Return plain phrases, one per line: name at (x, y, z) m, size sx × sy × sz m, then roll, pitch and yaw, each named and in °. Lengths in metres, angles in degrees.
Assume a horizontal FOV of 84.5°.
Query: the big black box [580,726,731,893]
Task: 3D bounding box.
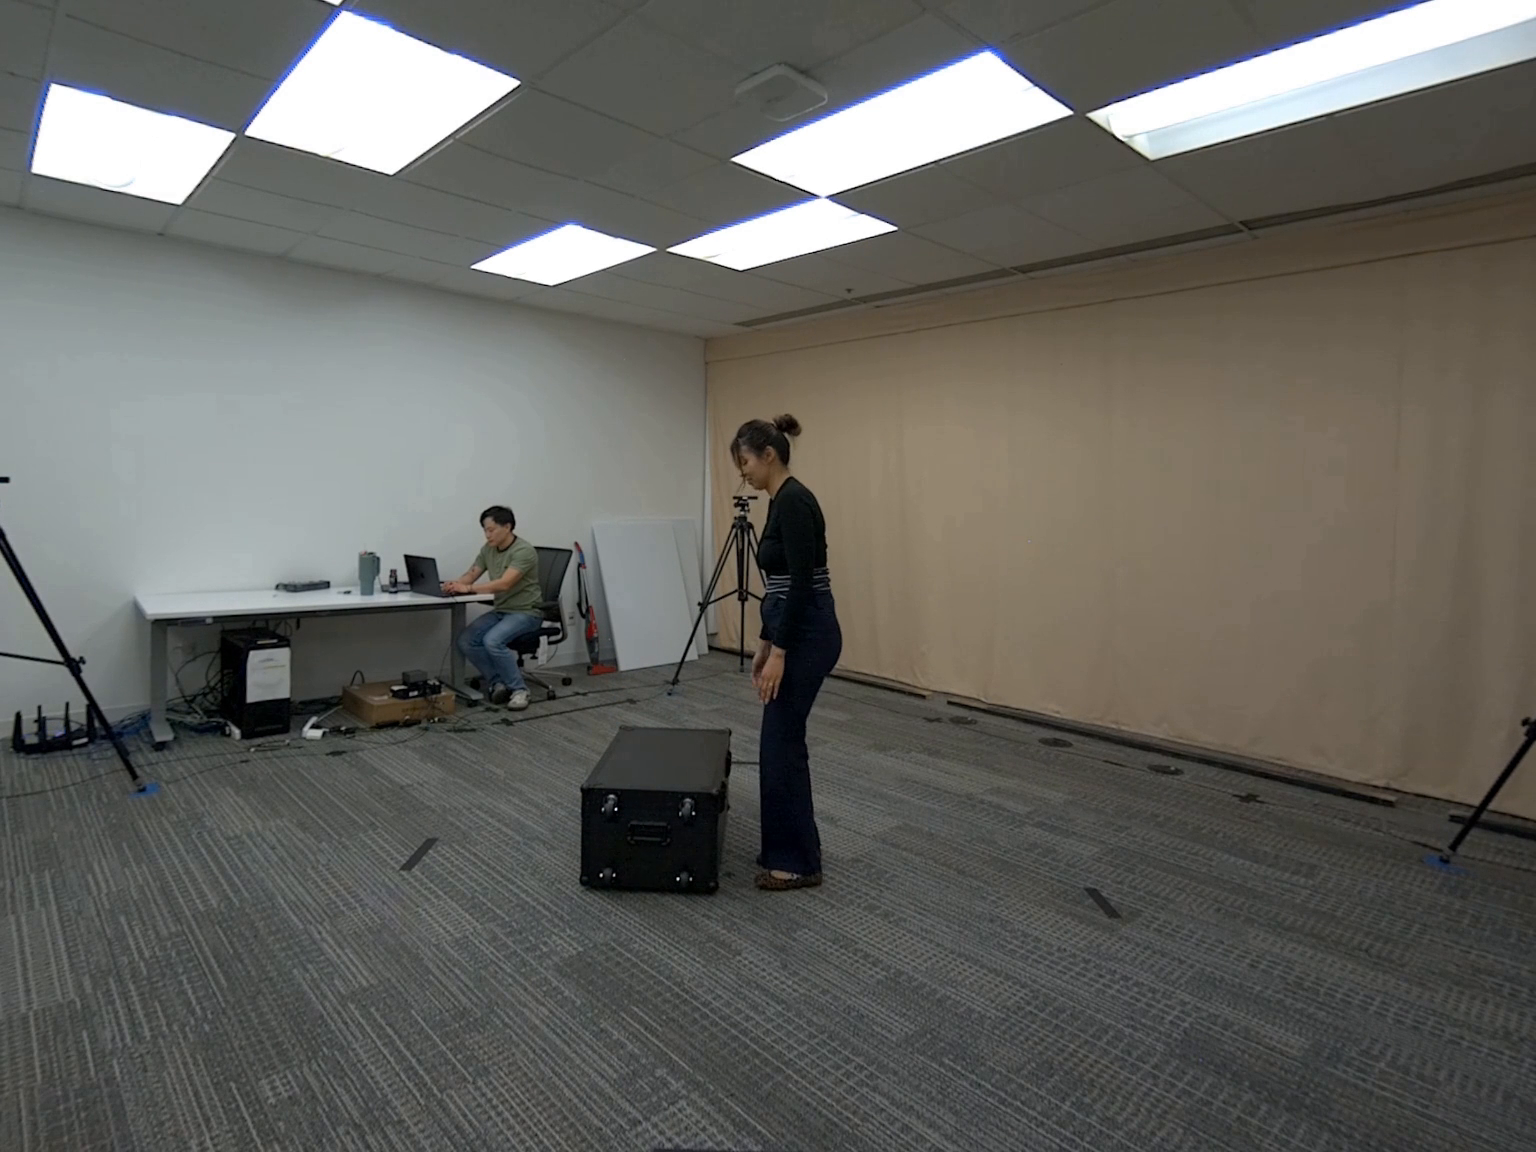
big black box at (-0.420, 0.887, 3.274) m, size 0.522 × 0.395 × 0.863 m, roll 2°, pitch 5°, yaw 0°
